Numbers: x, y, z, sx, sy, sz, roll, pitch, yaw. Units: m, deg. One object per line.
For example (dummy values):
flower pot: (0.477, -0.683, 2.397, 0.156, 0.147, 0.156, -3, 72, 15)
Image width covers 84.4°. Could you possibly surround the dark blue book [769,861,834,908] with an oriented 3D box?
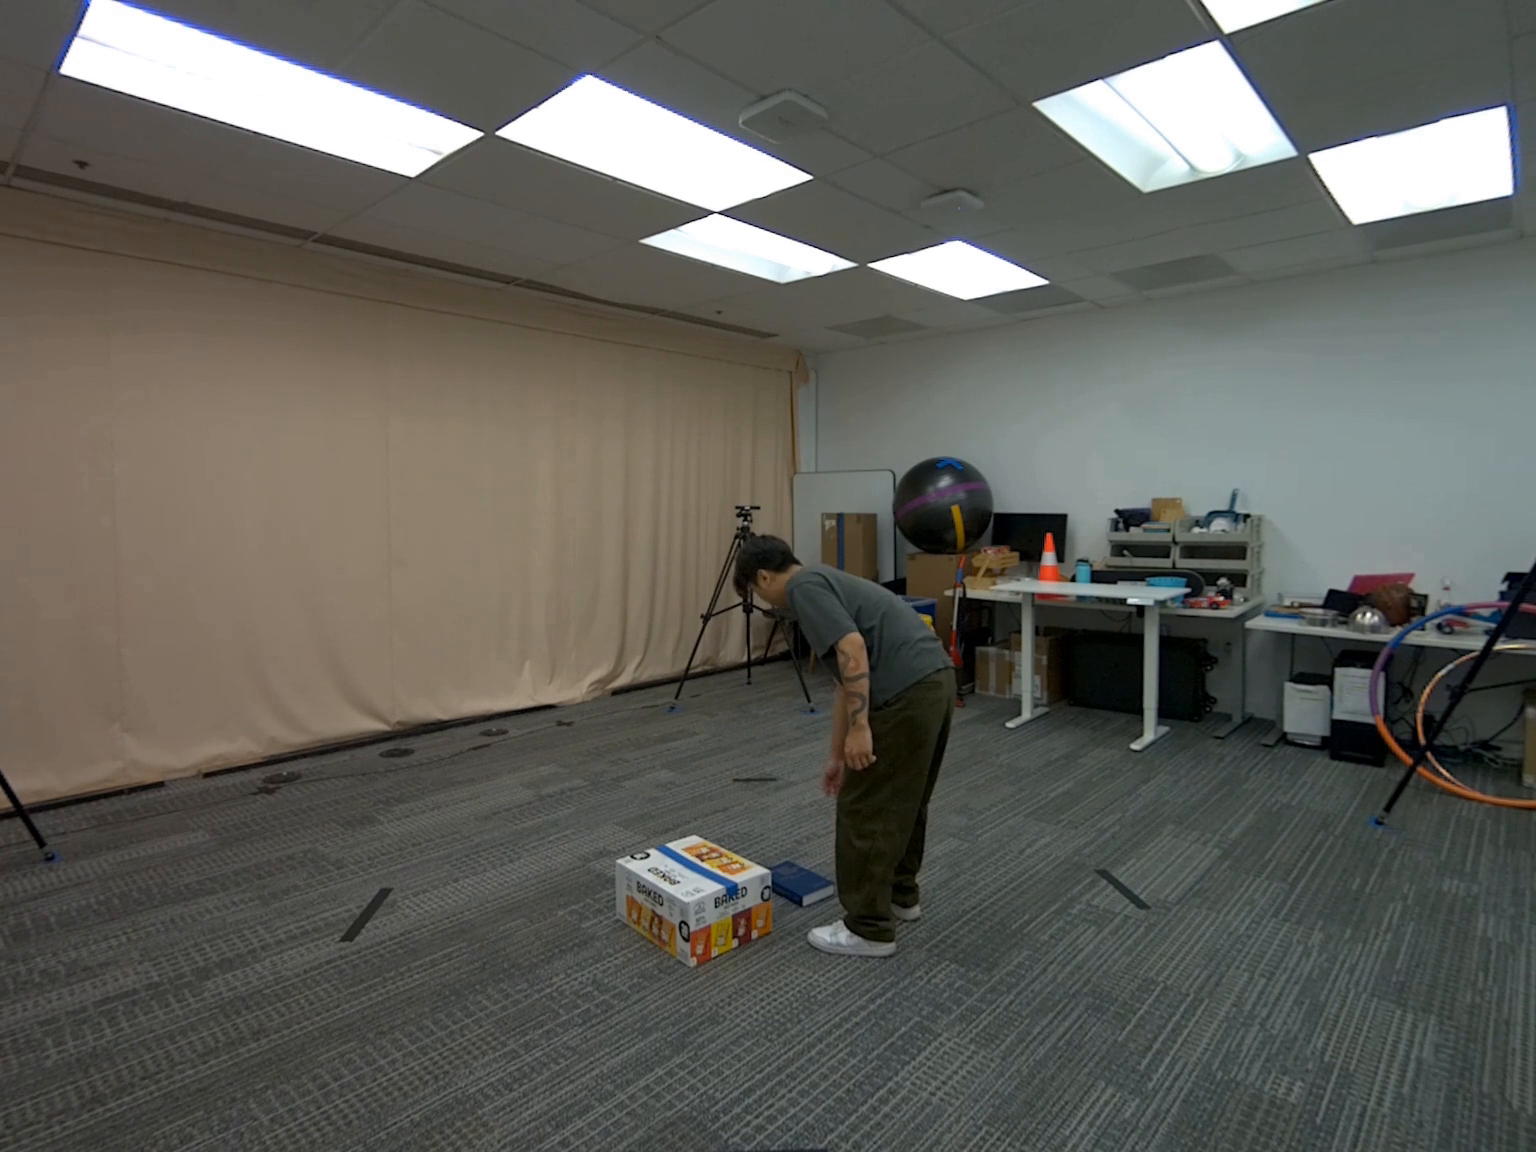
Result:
dark blue book: (0.105, 1.118, 3.057, 0.158, 0.045, 0.253, -4, 6, -41)
